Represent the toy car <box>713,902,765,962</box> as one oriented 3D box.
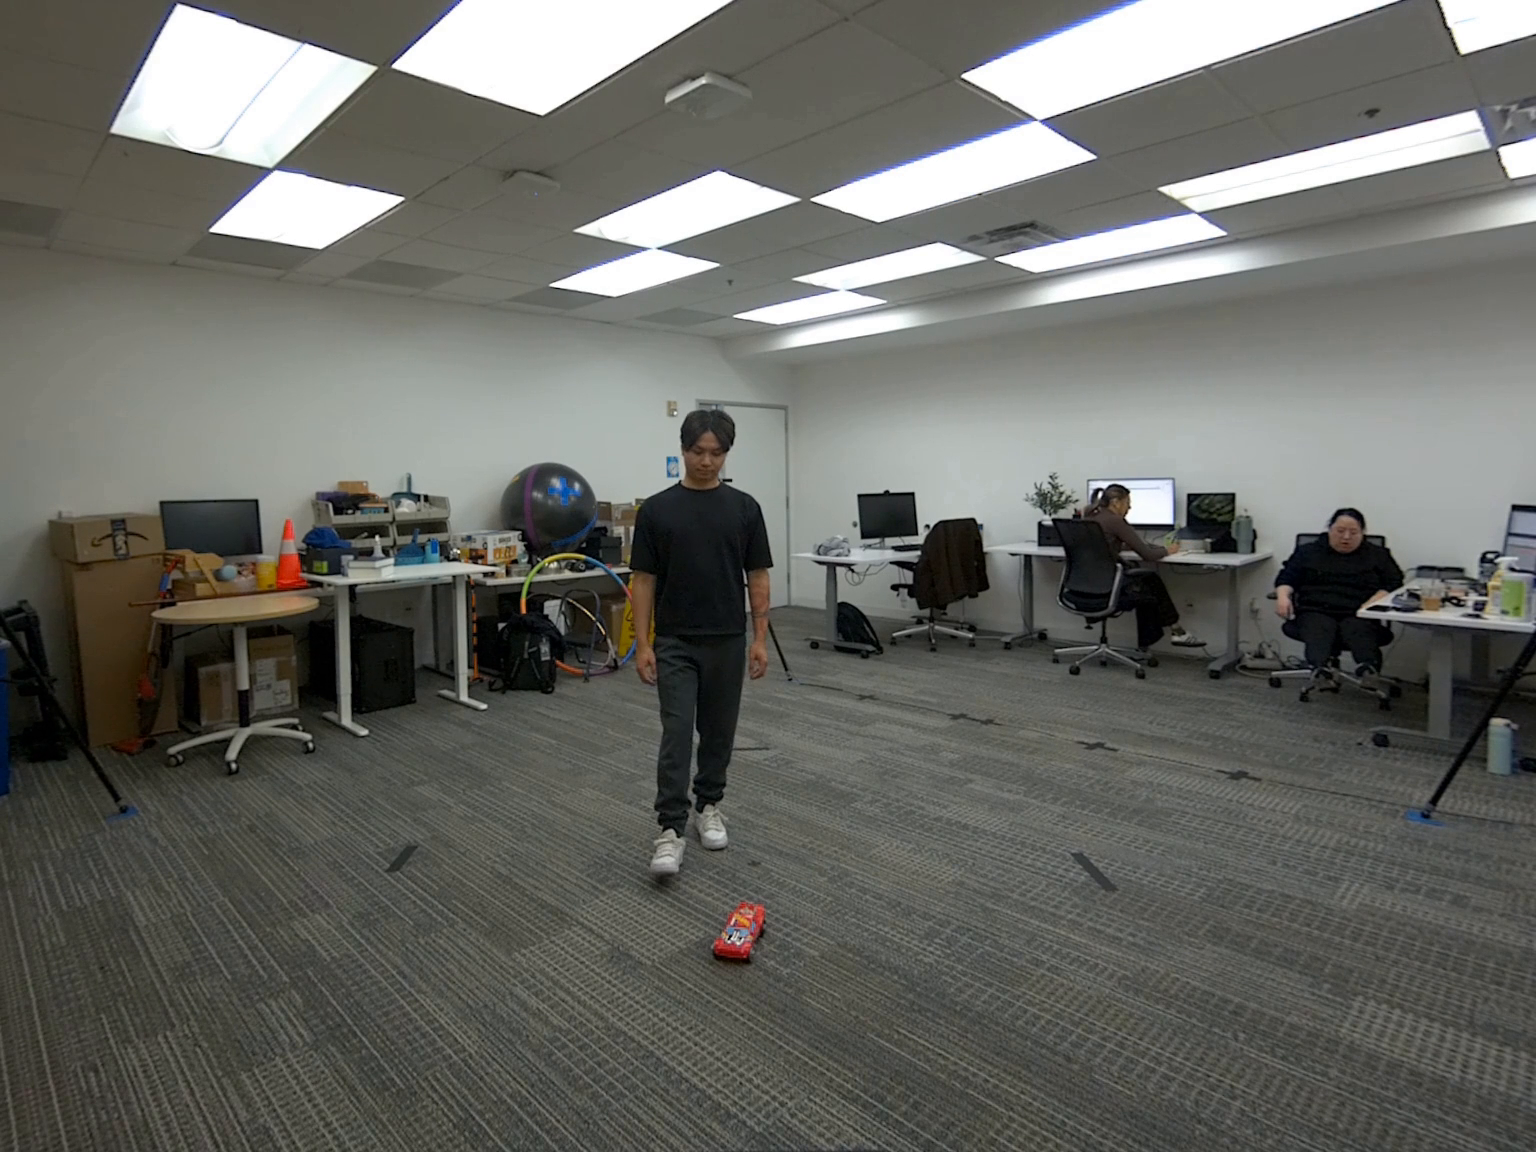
[{"bbox_3d":[-0.072,1.080,2.577,0.132,0.082,0.254,1,17,15],"label":"toy car"}]
